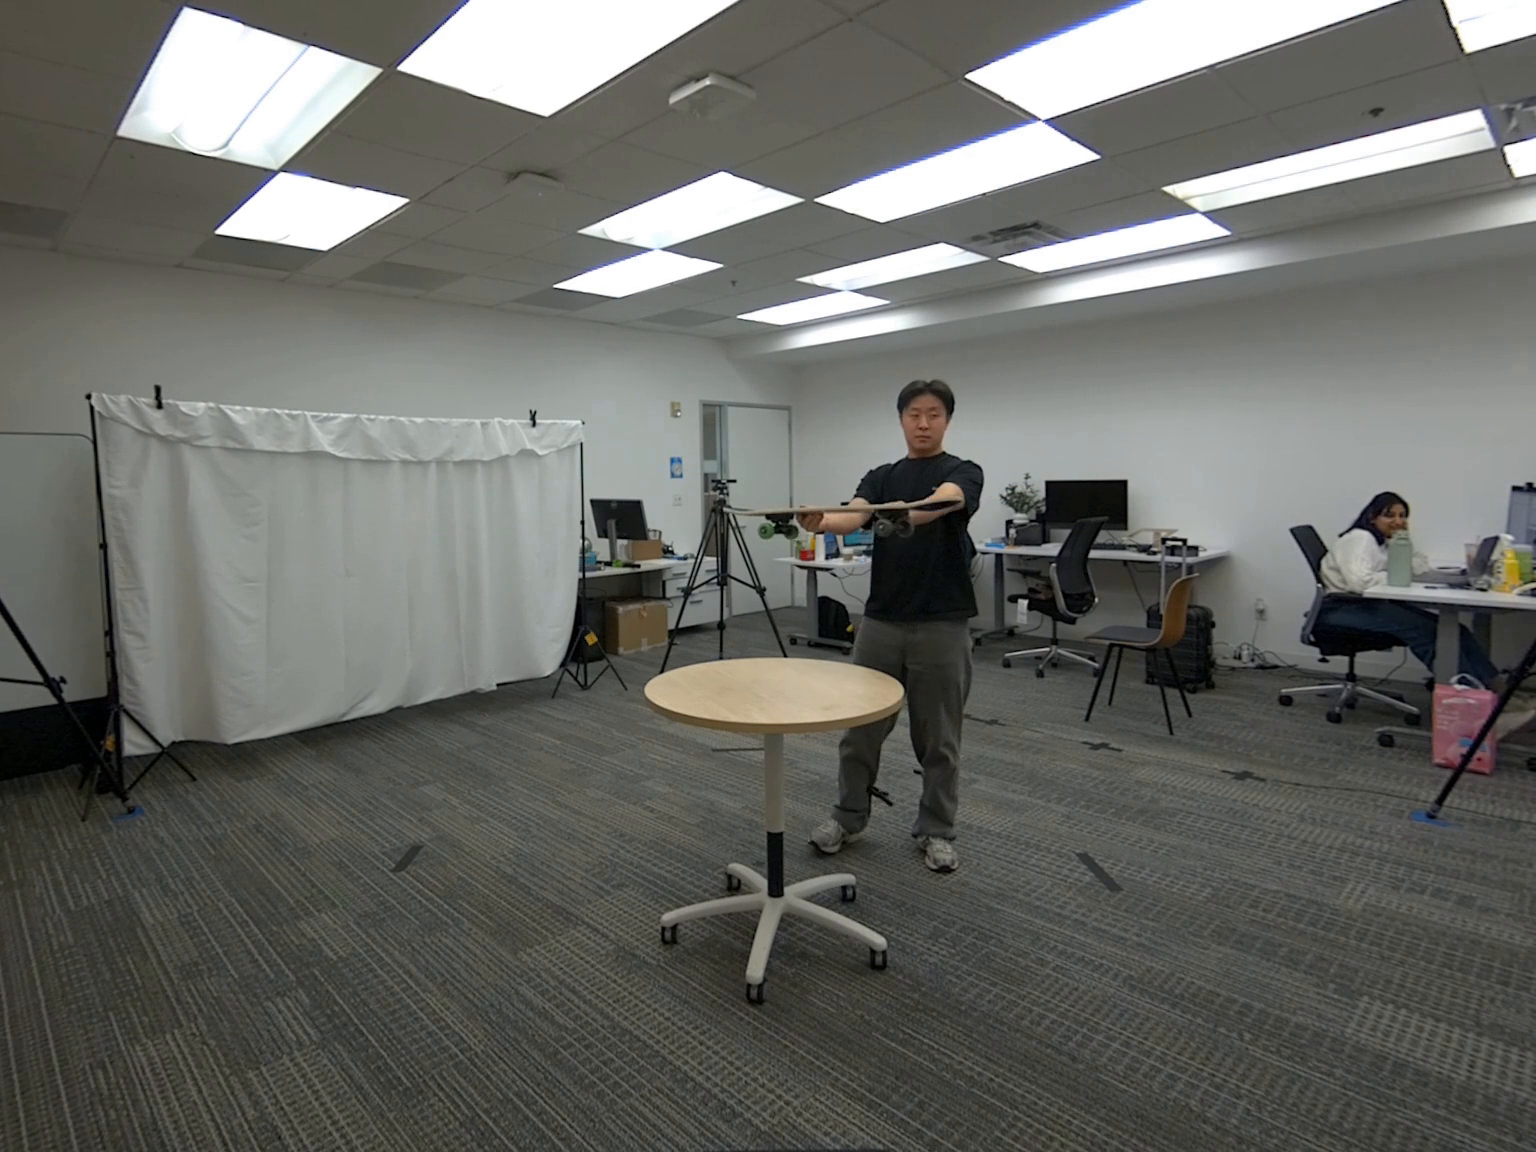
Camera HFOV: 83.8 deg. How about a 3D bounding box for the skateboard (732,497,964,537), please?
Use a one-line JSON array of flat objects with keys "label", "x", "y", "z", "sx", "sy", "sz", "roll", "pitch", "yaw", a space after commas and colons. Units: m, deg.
[{"label": "skateboard", "x": 0.218, "y": -0.172, "z": 2.611, "sx": 0.807, "sy": 0.110, "sz": 0.188, "roll": 0, "pitch": 0, "yaw": 36}]
